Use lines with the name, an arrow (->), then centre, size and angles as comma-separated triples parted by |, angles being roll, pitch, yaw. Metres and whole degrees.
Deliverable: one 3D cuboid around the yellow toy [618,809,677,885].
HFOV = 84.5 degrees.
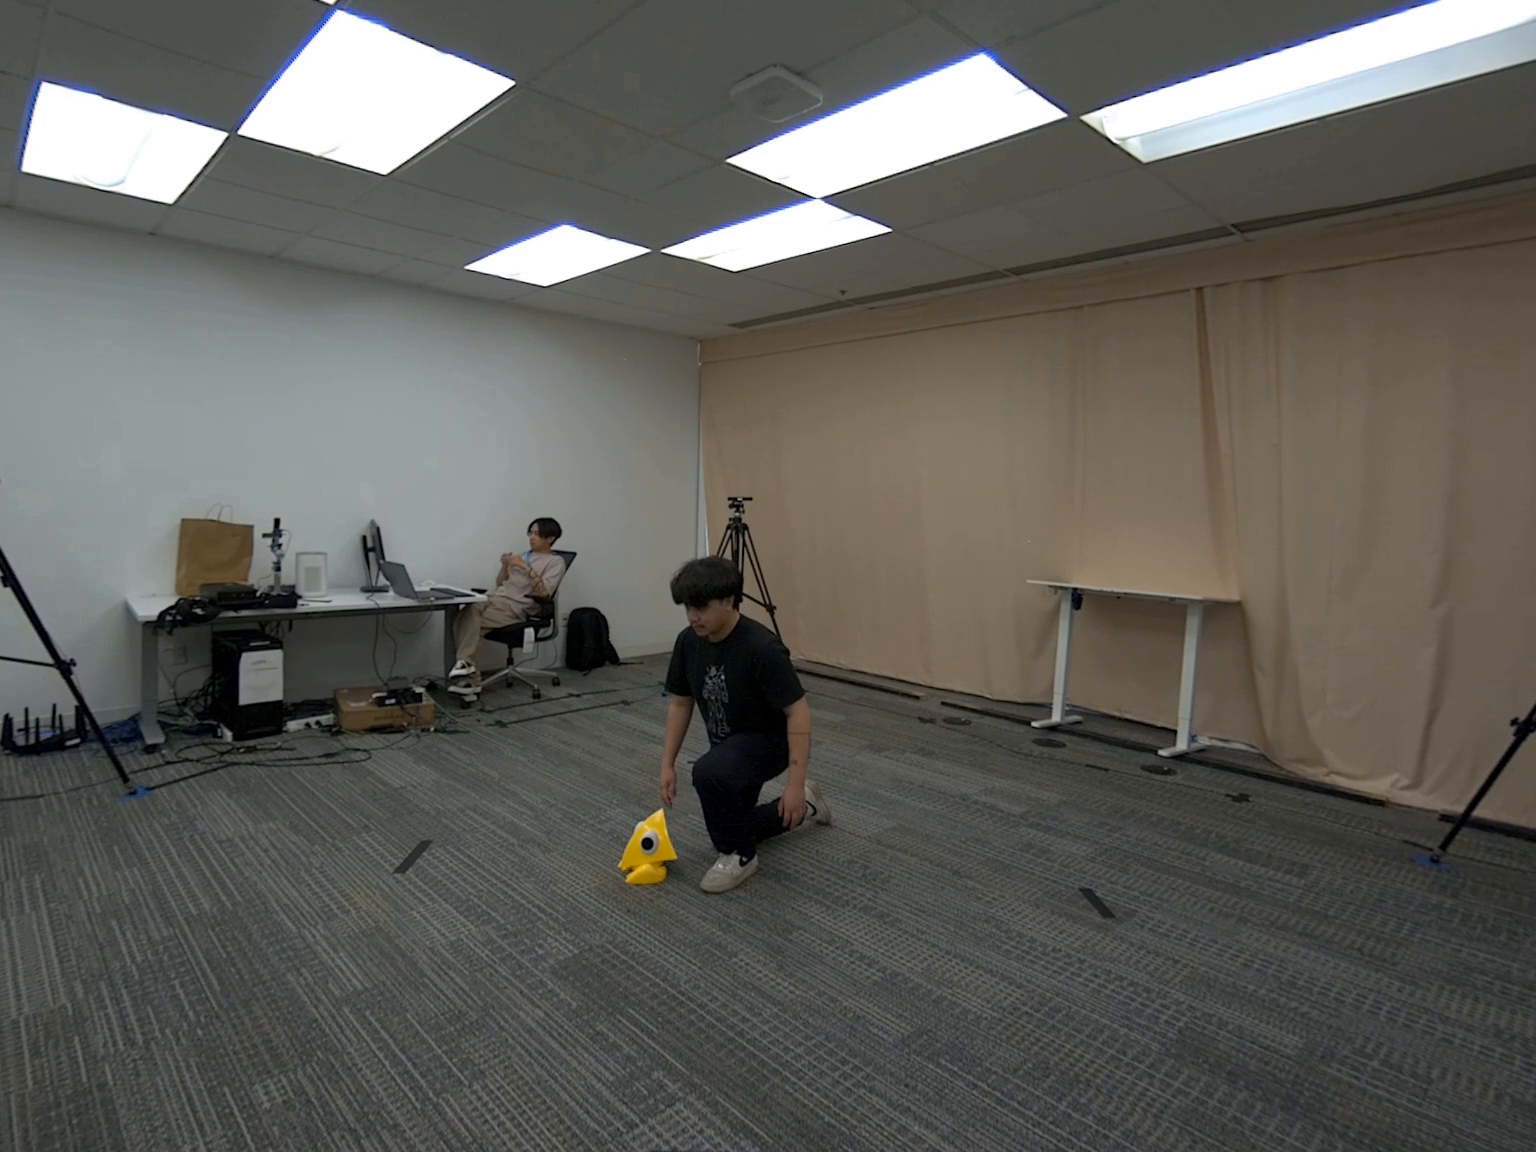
yellow toy -> -0.449, 0.980, 3.123 | 0.190, 0.230, 0.209 | 0, 5, -21
